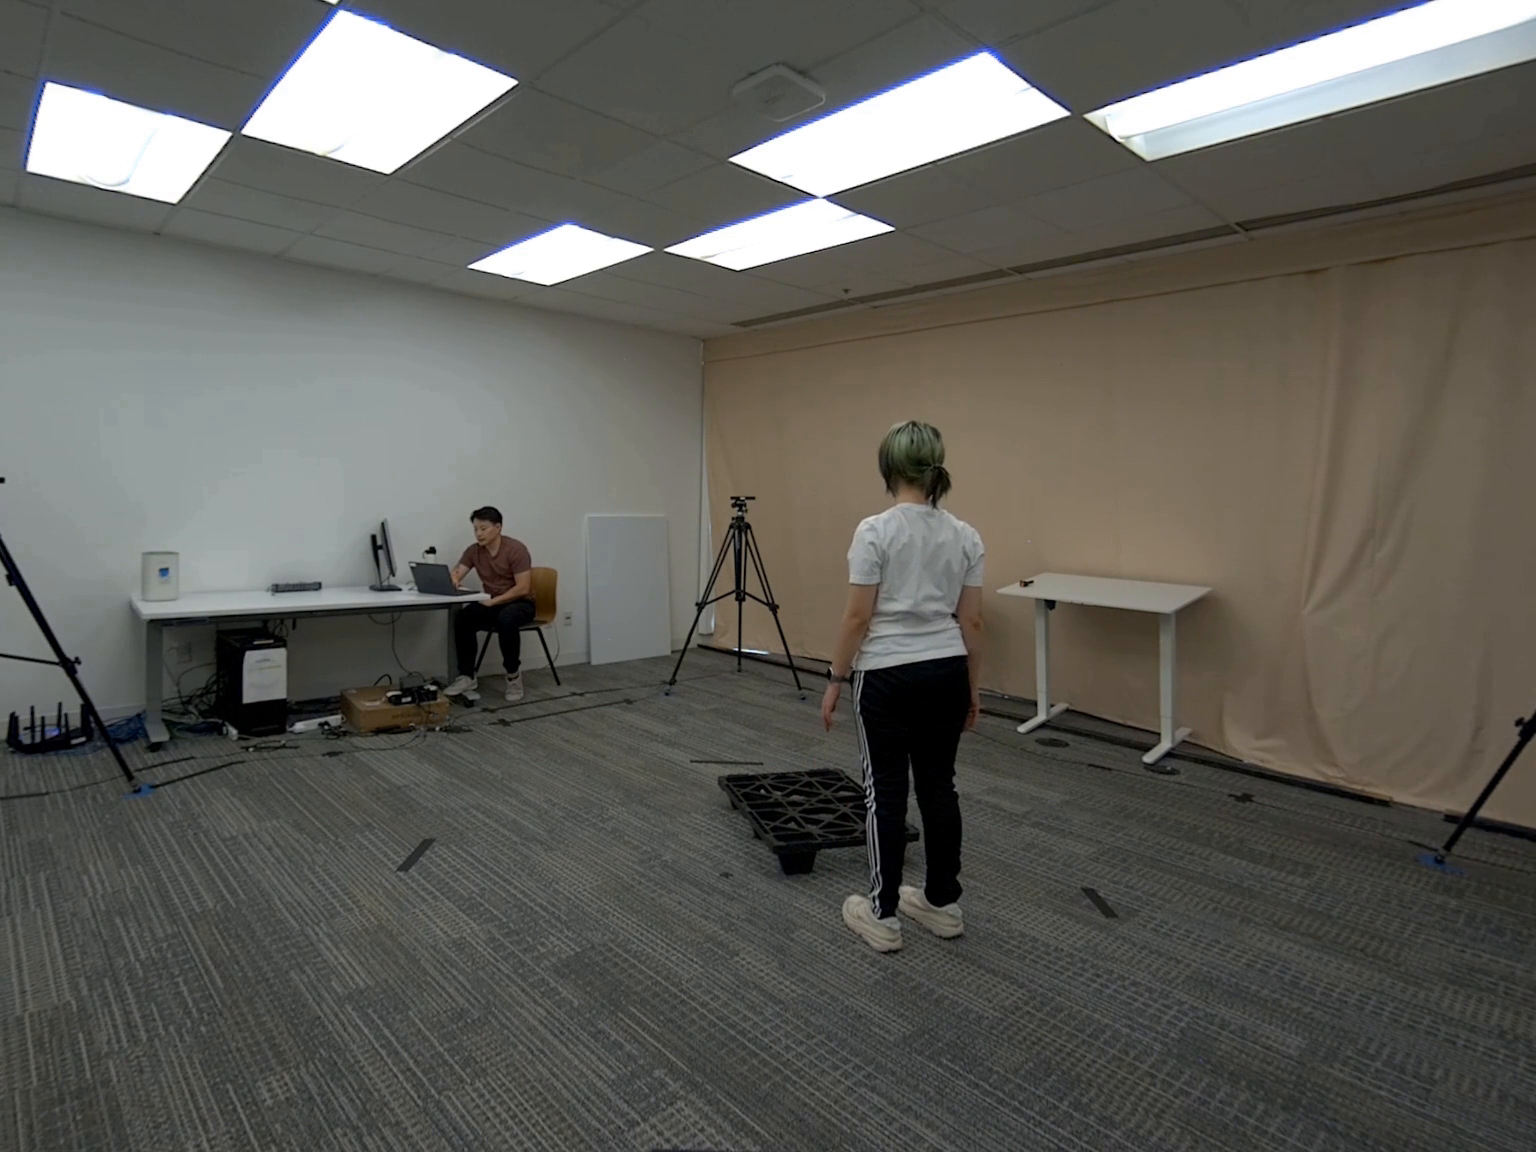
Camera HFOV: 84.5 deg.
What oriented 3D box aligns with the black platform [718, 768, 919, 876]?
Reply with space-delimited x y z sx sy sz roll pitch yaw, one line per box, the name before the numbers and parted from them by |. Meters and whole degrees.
black platform | 0.169 1.008 3.522 0.597 0.143 0.818 1 5 -17
